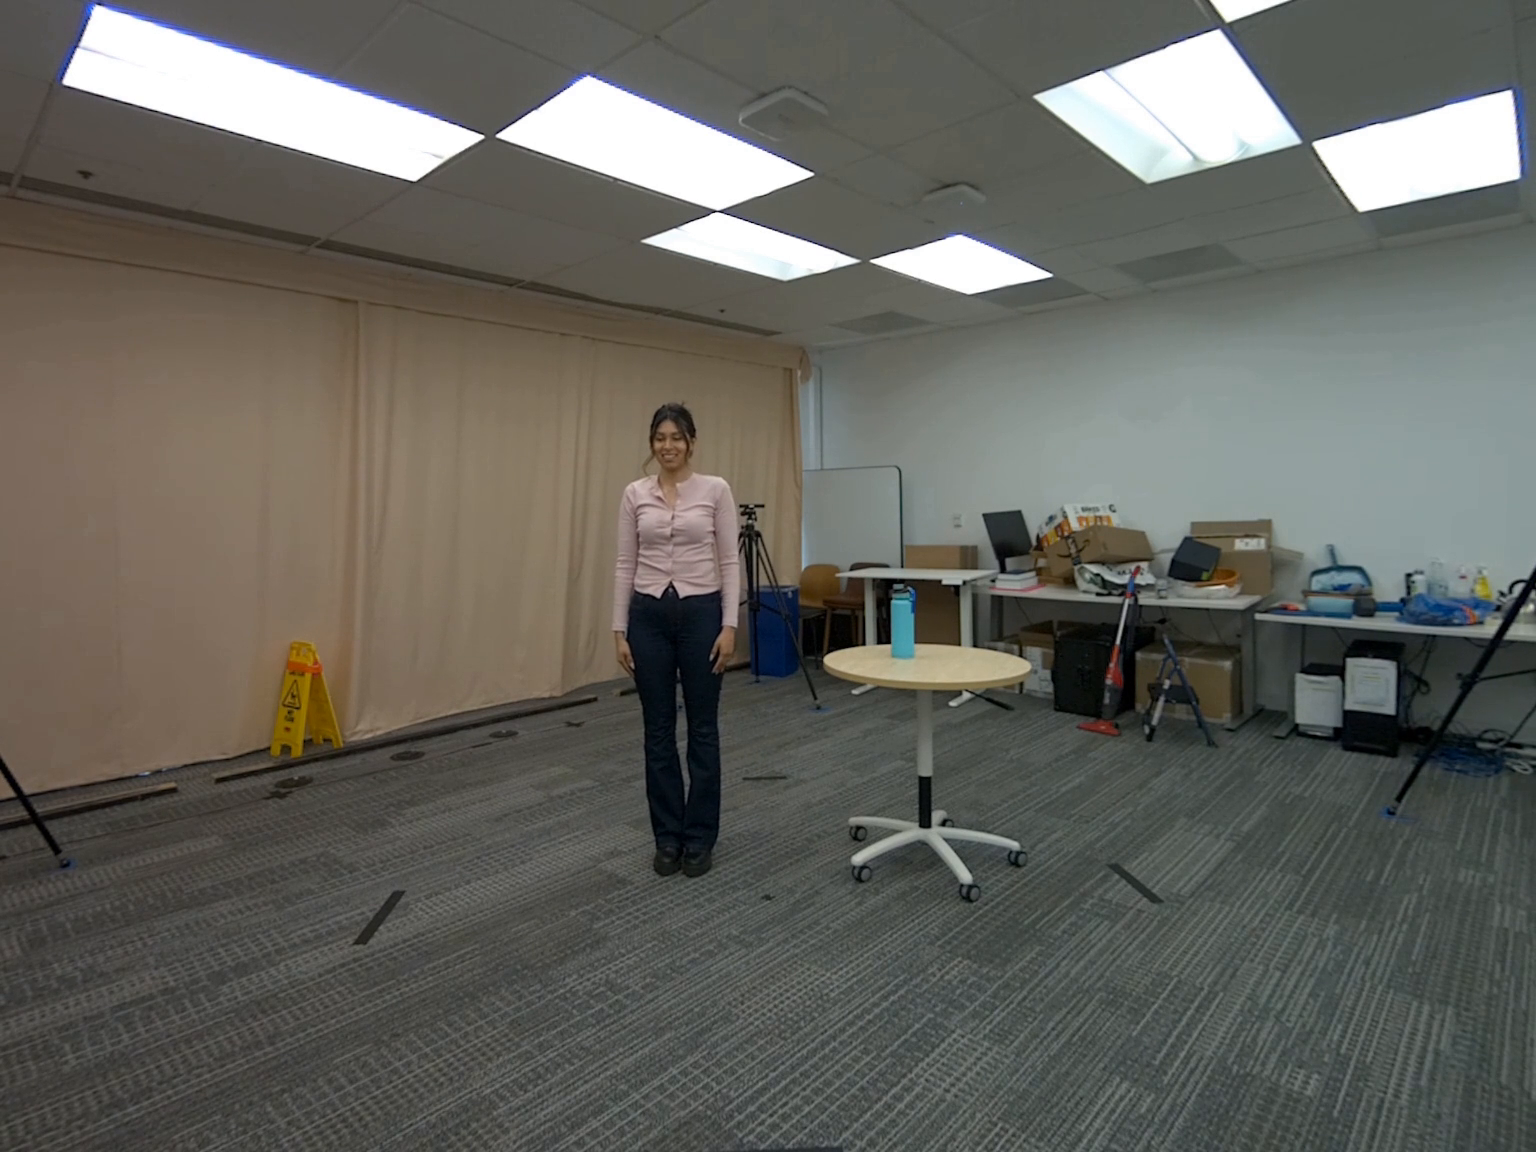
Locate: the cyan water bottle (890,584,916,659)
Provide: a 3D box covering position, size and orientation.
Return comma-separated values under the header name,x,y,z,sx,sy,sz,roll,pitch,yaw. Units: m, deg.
name,x,y,z,sx,sy,sz,roll,pitch,yaw
cyan water bottle,0.532,0.178,3.295,0.092,0.282,0.093,0,4,-2
